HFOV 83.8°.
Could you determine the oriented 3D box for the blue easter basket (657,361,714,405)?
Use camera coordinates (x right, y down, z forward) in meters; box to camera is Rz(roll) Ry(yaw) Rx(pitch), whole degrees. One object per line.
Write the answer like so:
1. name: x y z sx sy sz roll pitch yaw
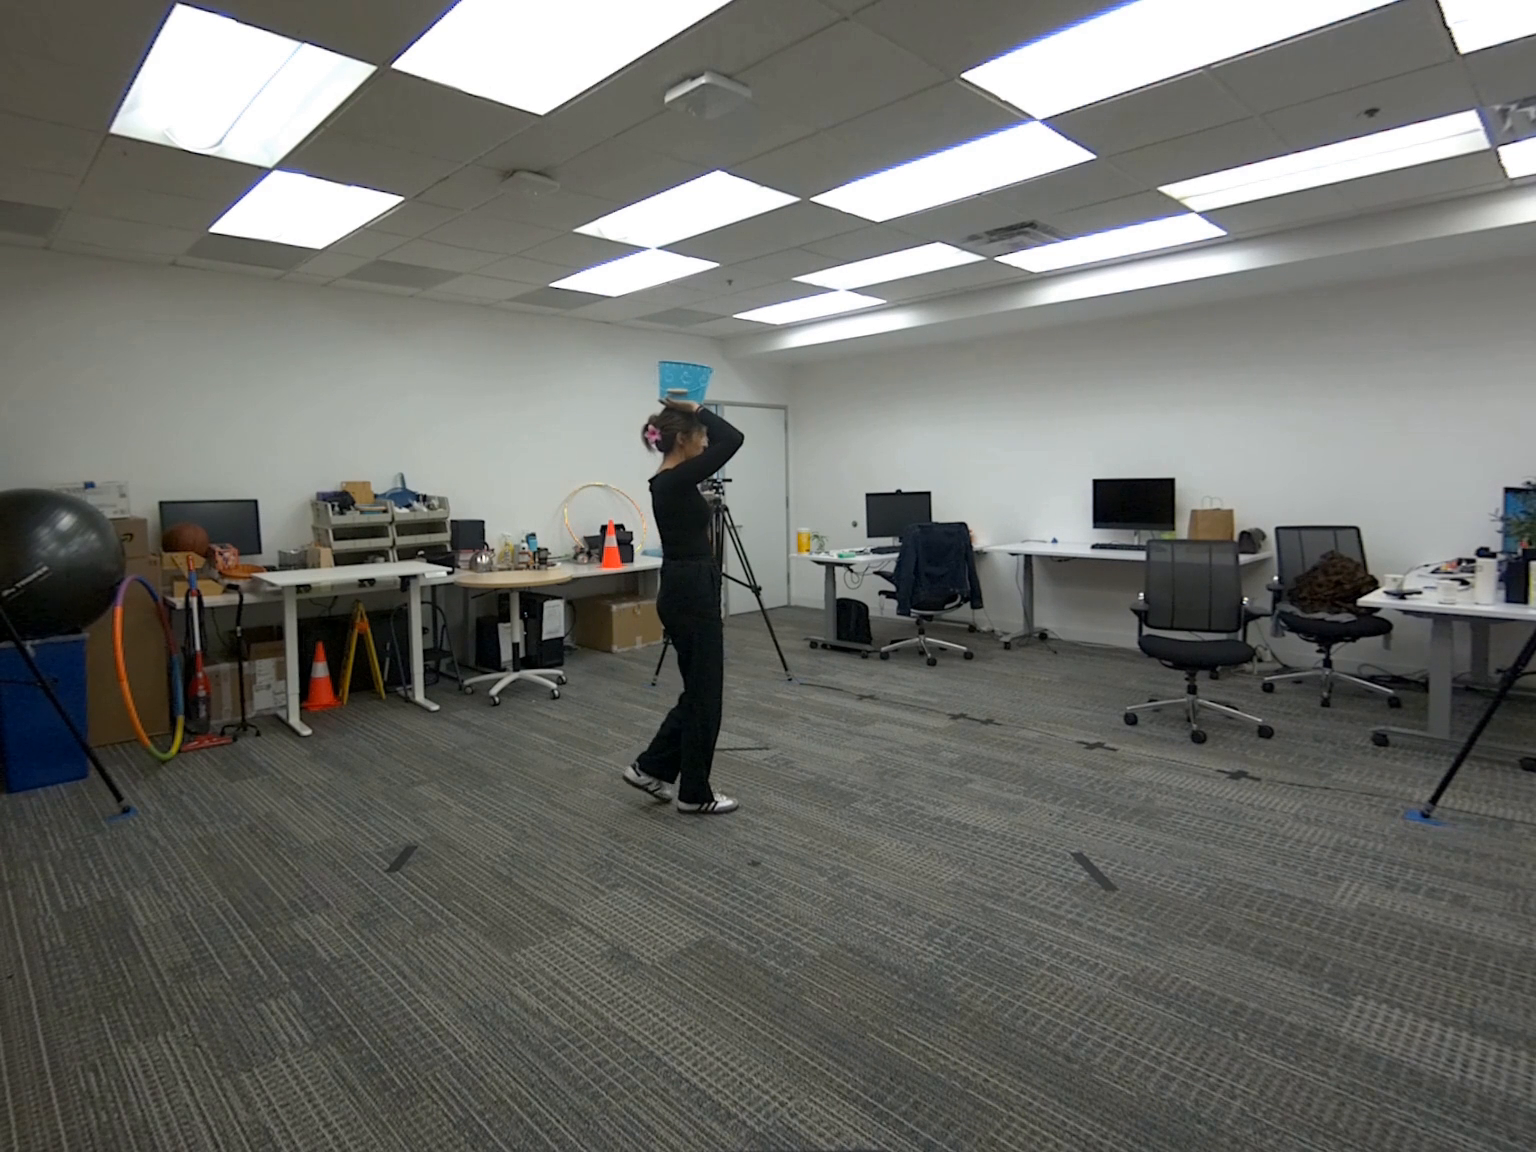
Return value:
1. blue easter basket: -0.354 -0.789 3.486 0.243 0.155 0.245 6 7 -2
